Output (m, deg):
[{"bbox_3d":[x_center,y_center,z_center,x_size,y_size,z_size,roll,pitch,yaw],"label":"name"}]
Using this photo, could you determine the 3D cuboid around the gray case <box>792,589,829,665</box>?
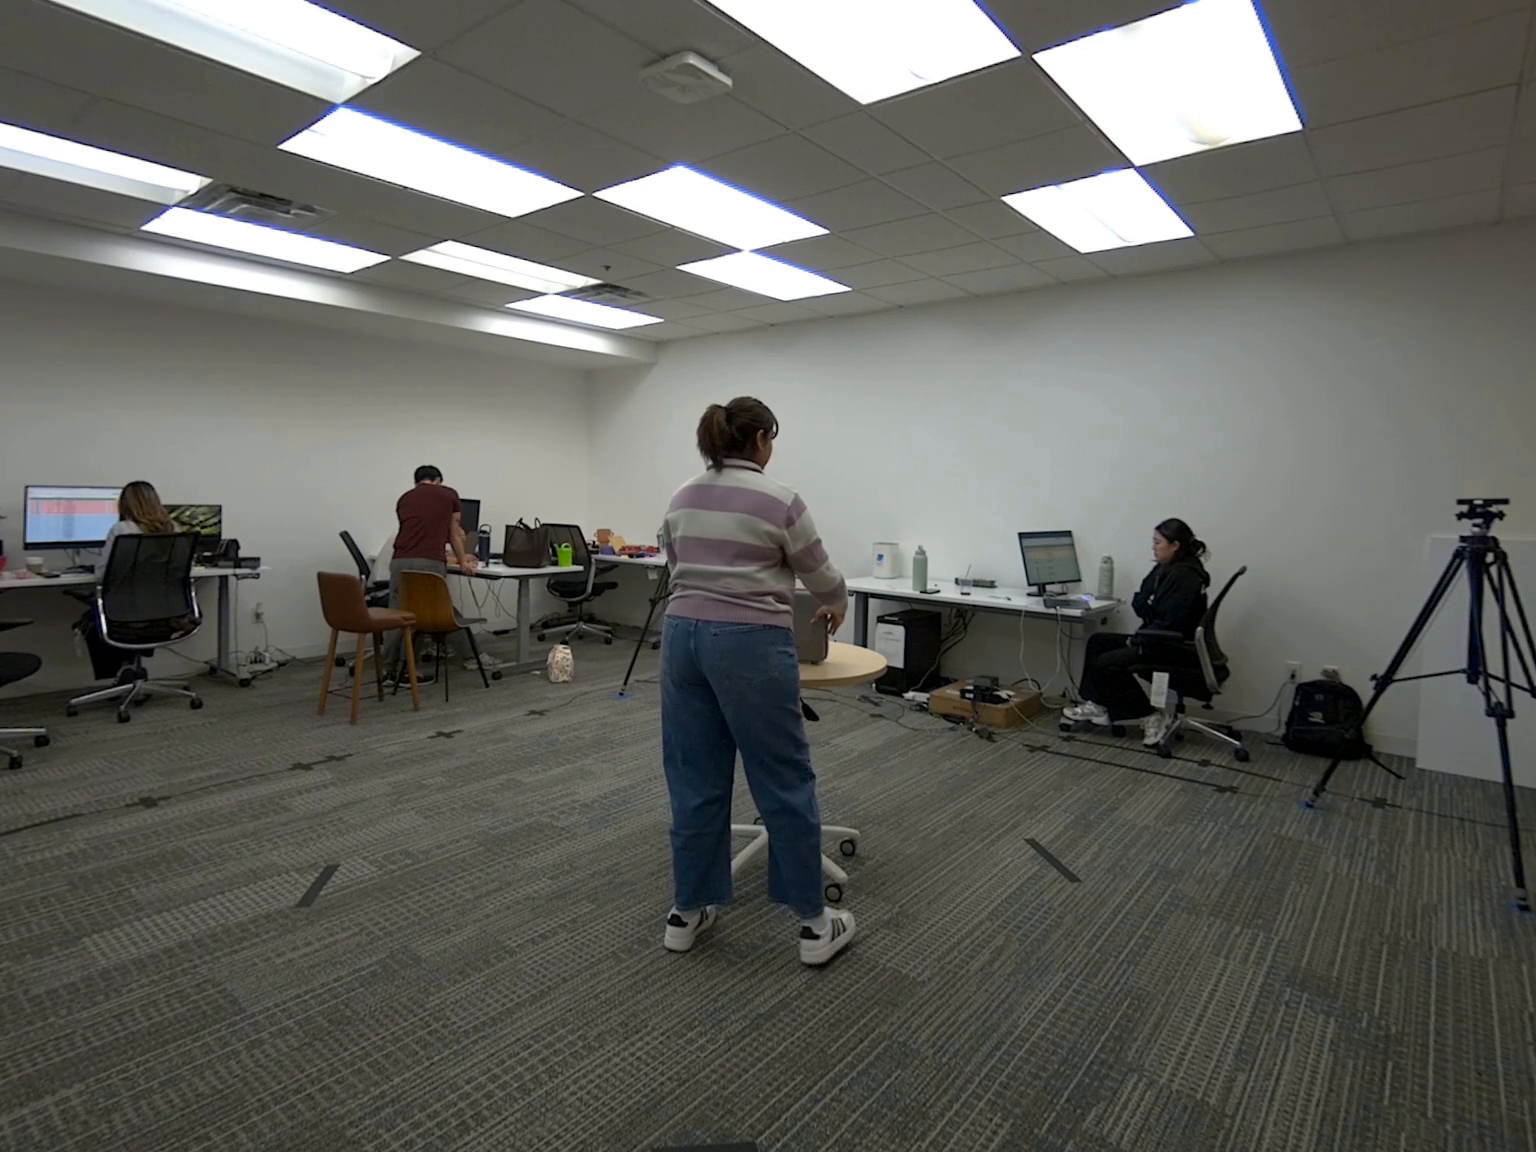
[{"bbox_3d":[0.076,0.167,3.023,0.262,0.259,0.103,1,6,18],"label":"gray case"}]
